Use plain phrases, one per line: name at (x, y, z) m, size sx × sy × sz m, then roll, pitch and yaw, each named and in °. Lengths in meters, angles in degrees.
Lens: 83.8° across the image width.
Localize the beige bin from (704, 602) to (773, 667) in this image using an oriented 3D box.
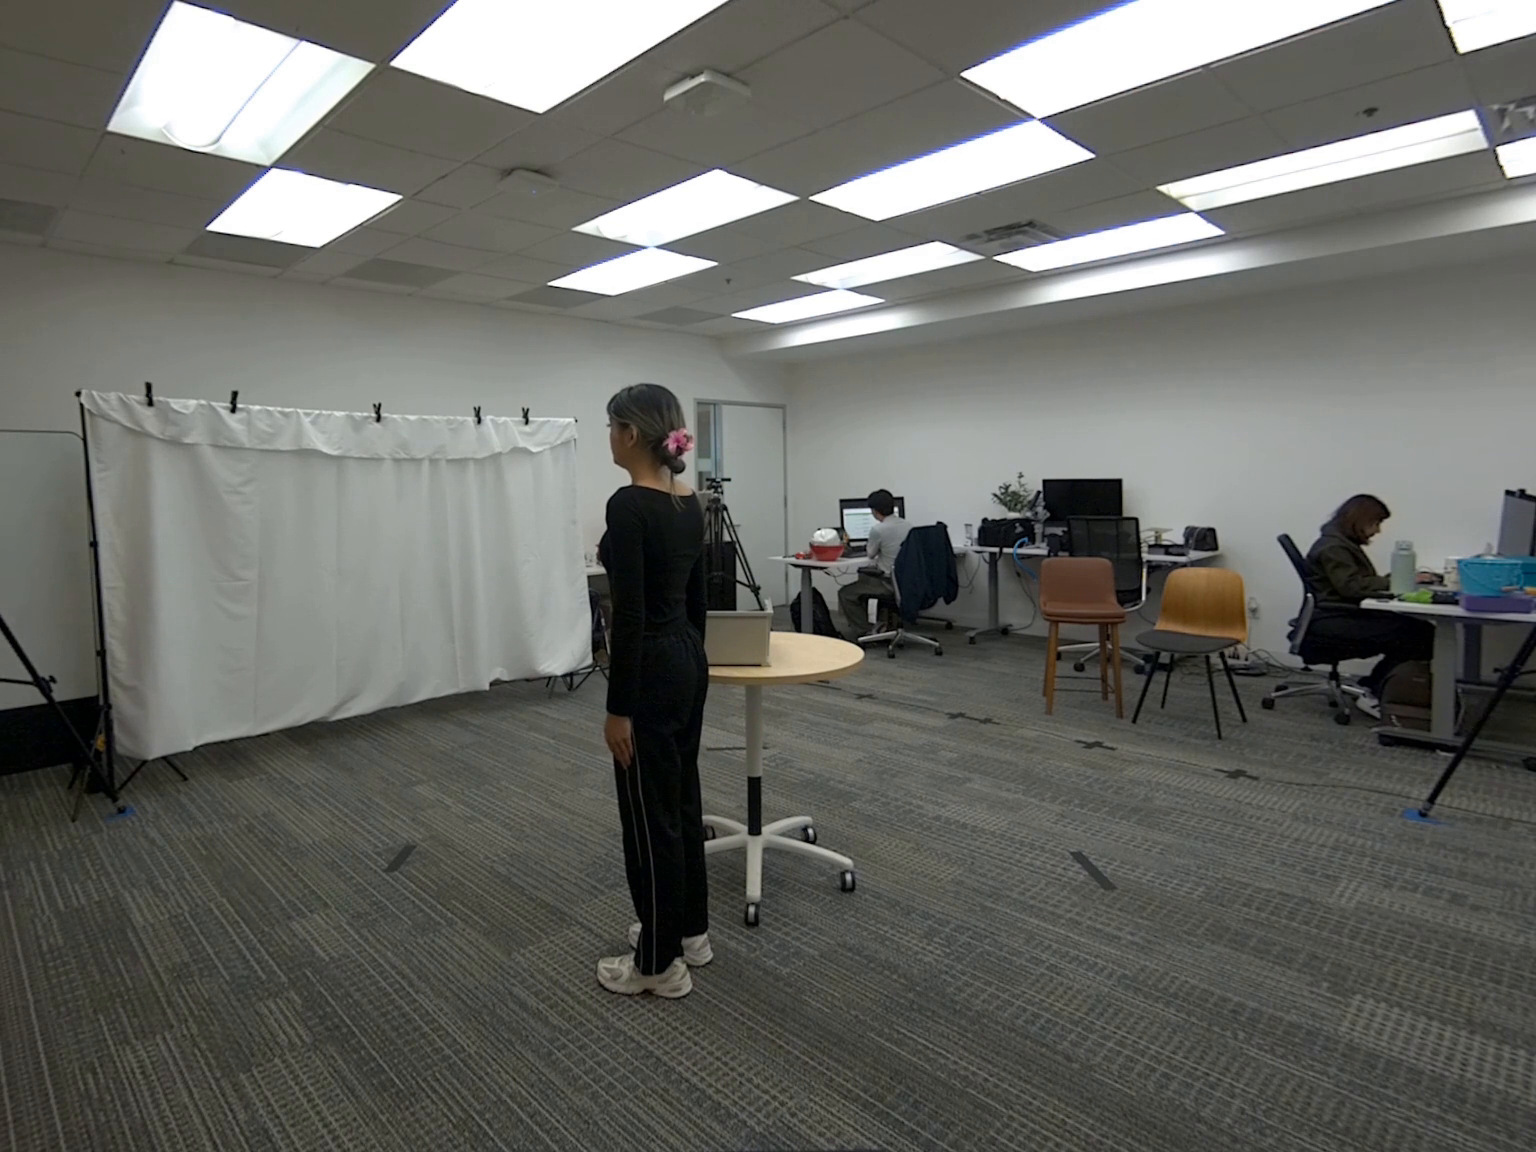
beige bin at (-0.198, 0.184, 2.914) m, size 0.423 × 0.188 × 0.379 m, roll 0°, pitch 7°, yaw 0°
